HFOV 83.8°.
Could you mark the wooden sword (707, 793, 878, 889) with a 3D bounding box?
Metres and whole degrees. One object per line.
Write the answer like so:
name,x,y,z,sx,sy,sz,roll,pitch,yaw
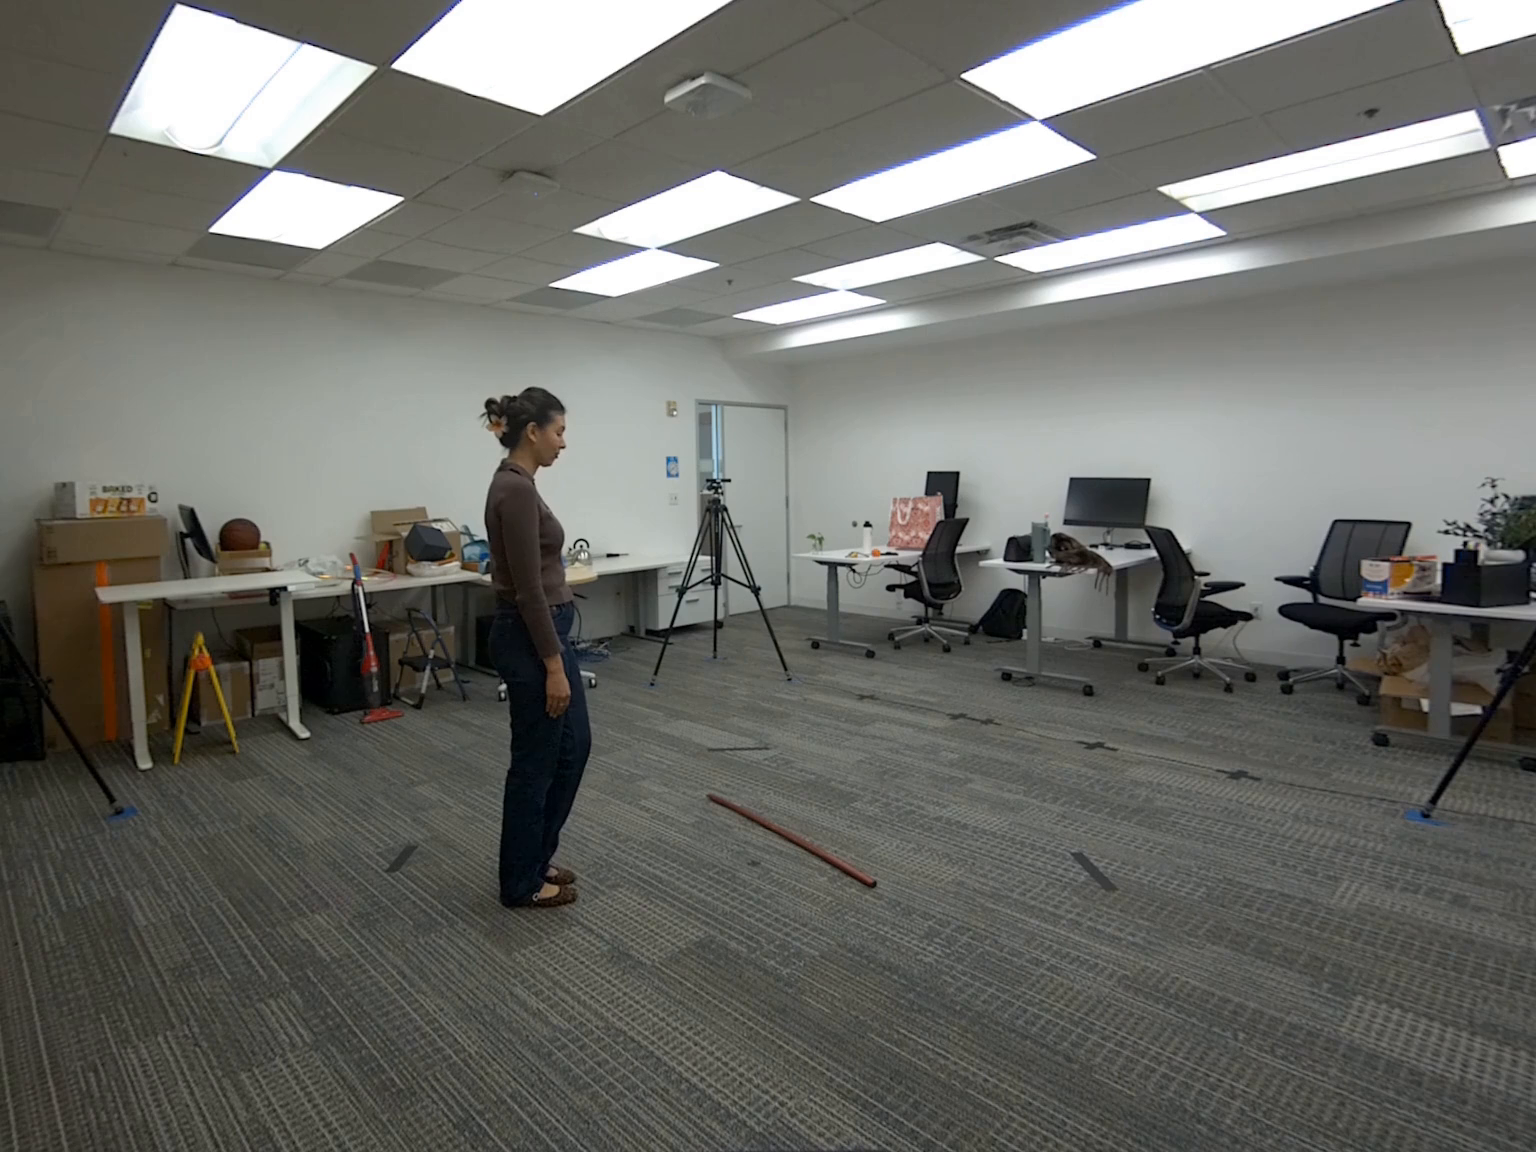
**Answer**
wooden sword,0.055,0.999,3.326,0.049,0.024,1.055,34,-15,-32
